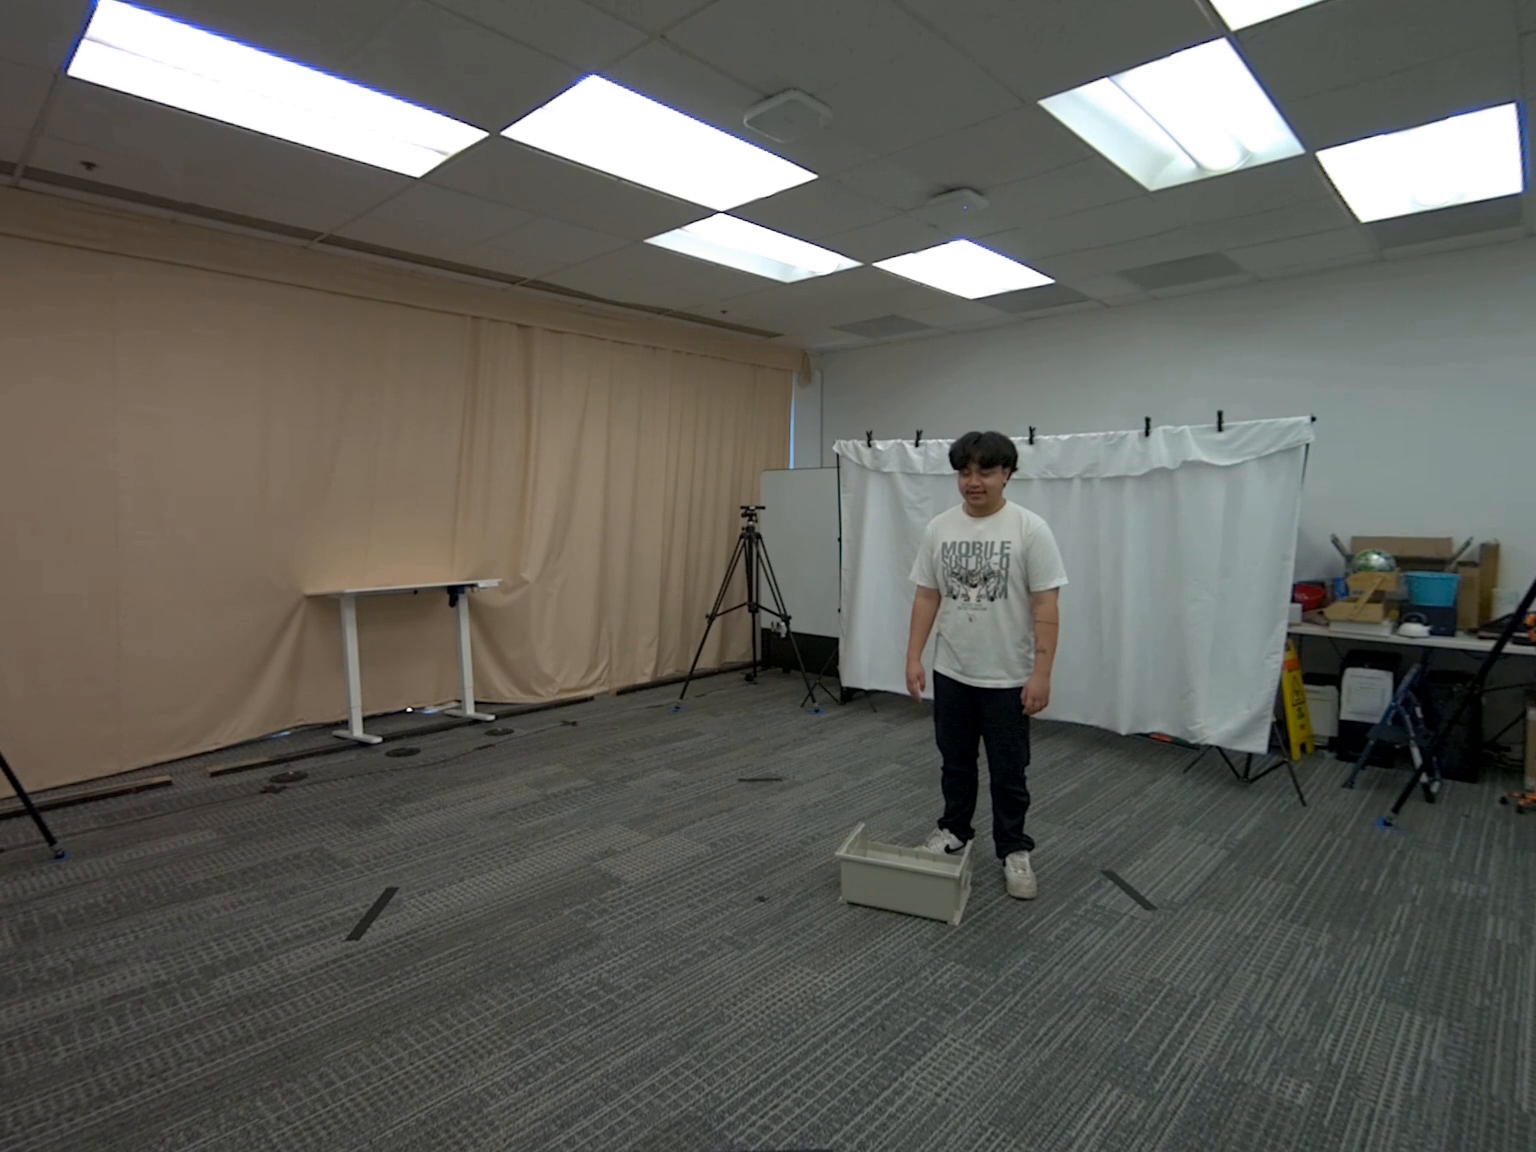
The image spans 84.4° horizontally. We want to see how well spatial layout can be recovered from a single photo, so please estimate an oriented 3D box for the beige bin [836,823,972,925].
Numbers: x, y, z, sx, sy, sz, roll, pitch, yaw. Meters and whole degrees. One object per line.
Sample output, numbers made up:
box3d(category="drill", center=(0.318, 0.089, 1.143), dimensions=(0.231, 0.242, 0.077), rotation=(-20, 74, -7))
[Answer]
box3d(category="beige bin", center=(0.503, 1.048, 3.018), dimensions=(0.433, 0.188, 0.369), rotation=(3, 6, 23))
